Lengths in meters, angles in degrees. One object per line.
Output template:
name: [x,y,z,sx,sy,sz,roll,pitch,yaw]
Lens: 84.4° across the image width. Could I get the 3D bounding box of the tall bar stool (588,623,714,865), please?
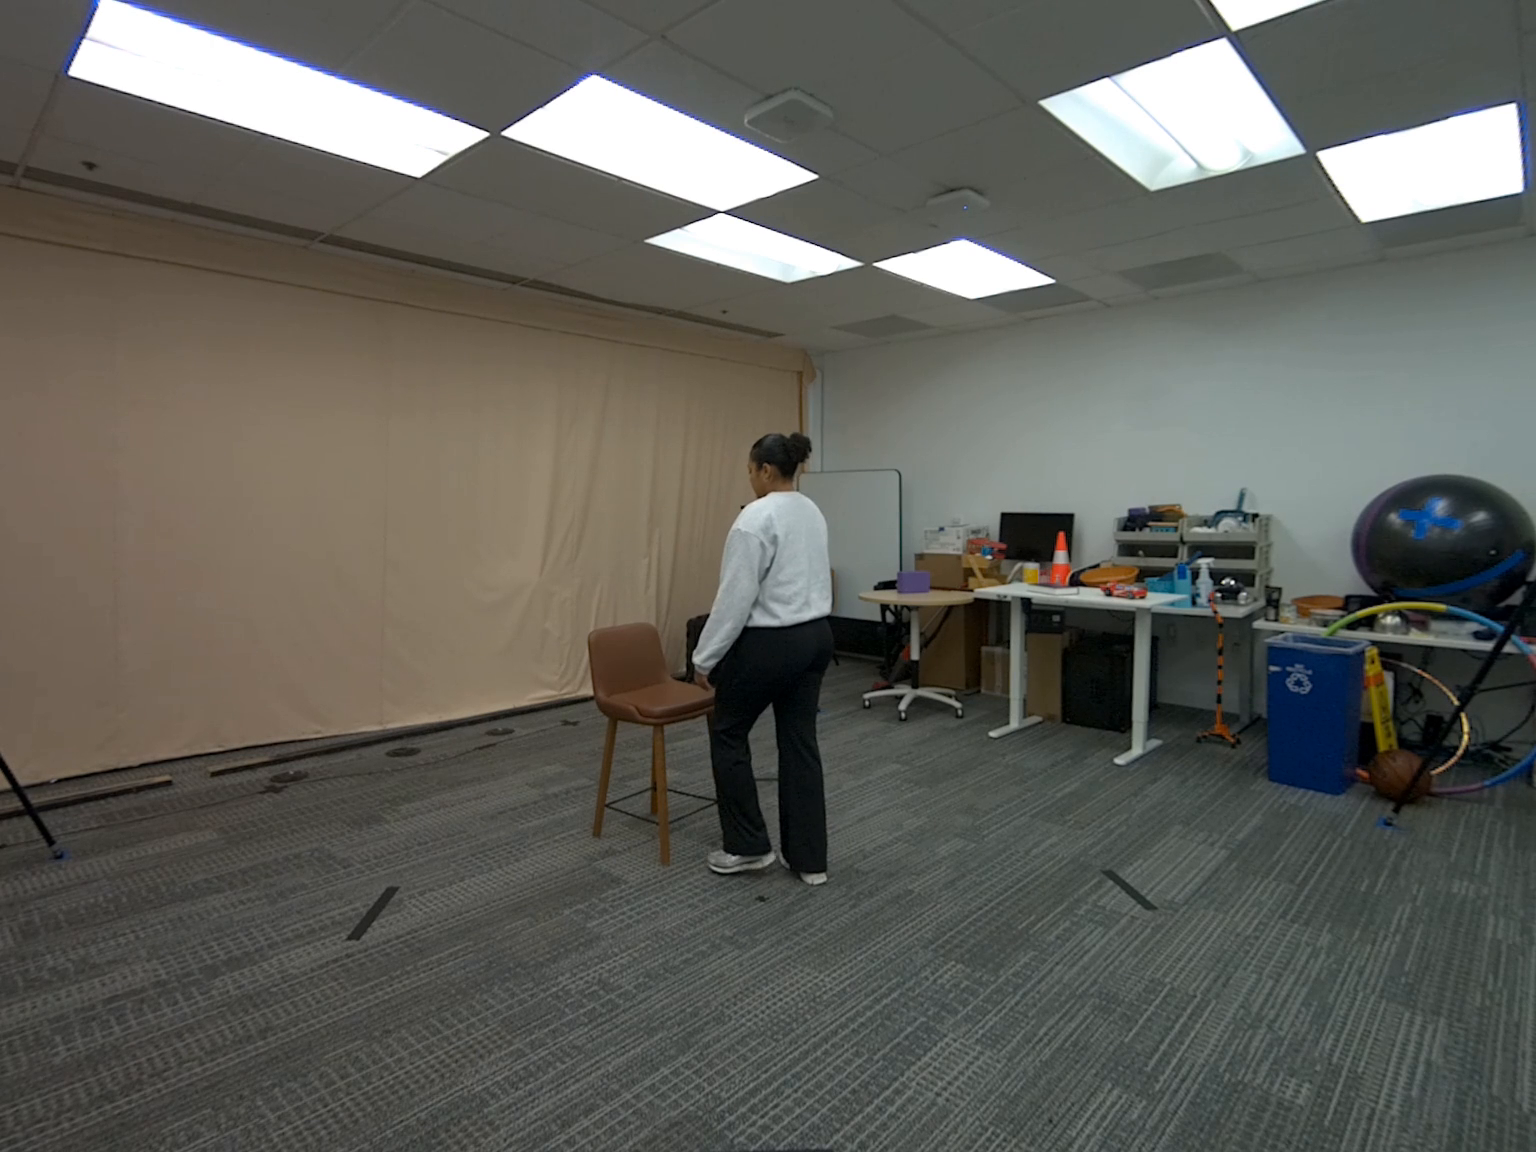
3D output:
tall bar stool: [-0.462,0.662,3.536,0.482,0.889,0.443,-1,2,39]
